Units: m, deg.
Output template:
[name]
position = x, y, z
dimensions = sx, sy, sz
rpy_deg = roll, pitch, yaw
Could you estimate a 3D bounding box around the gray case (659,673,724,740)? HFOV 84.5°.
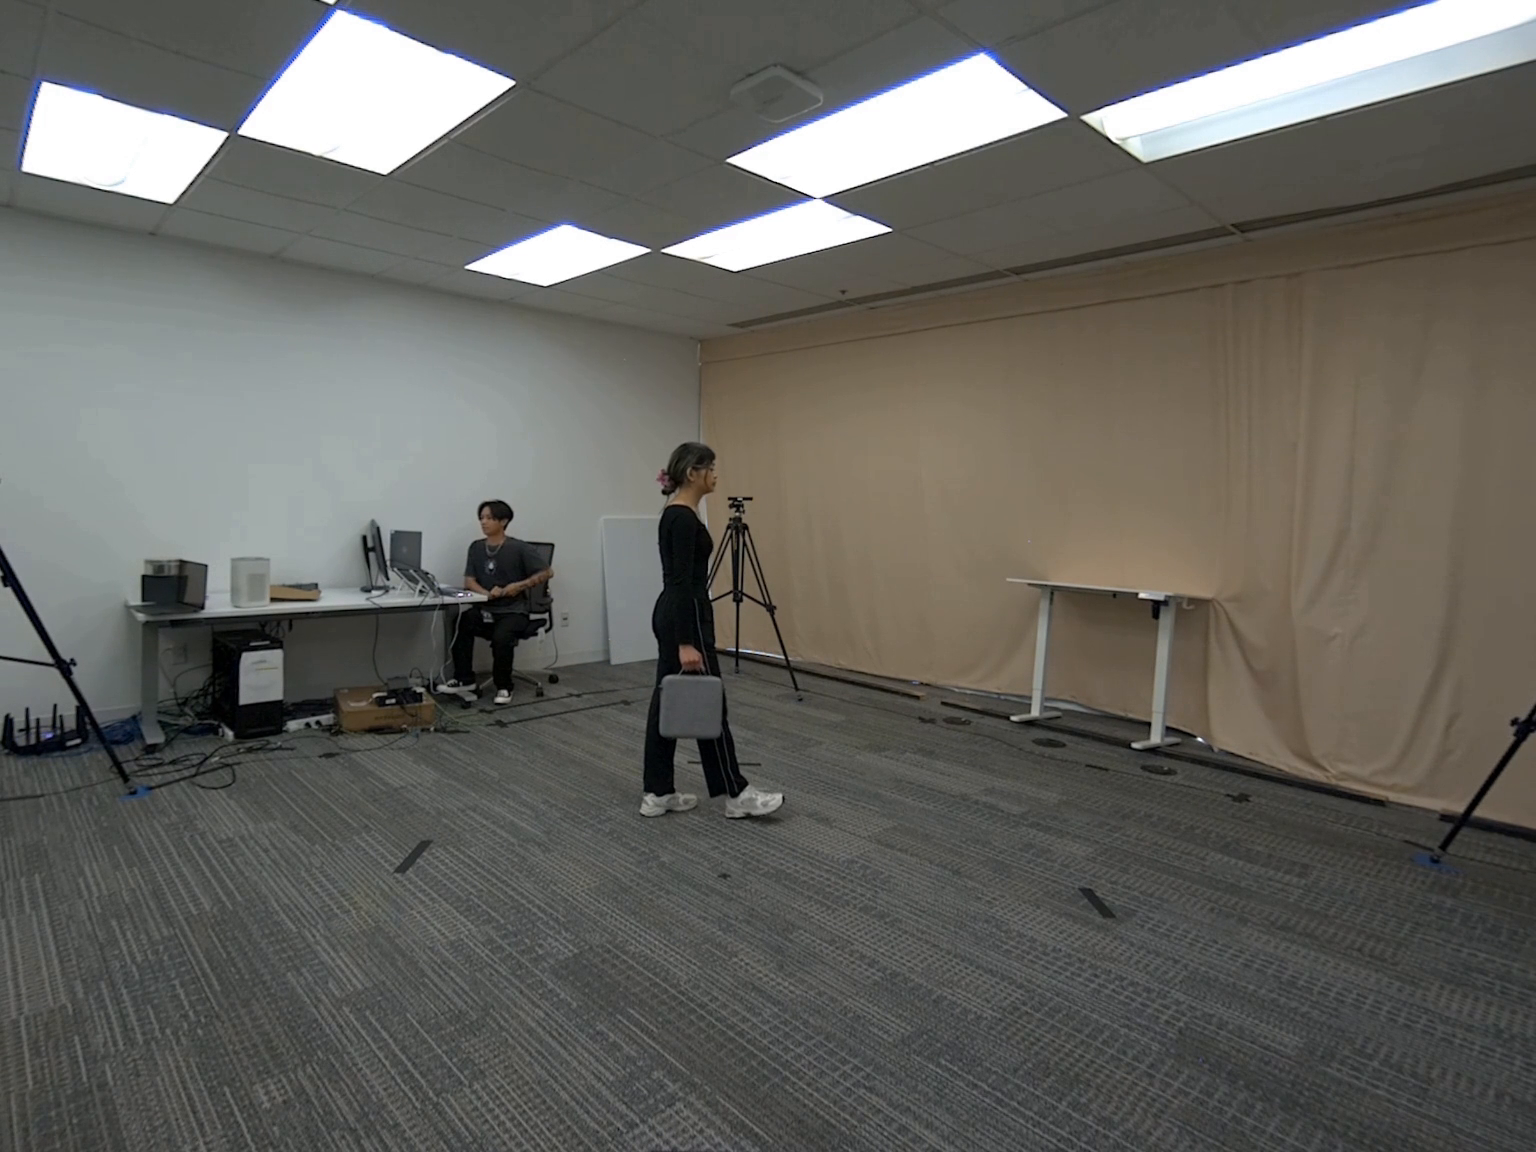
[gray case]
position = -0.327, 0.538, 3.491
dimensions = 0.255, 0.261, 0.105
rpy_deg = 2, -4, -9
